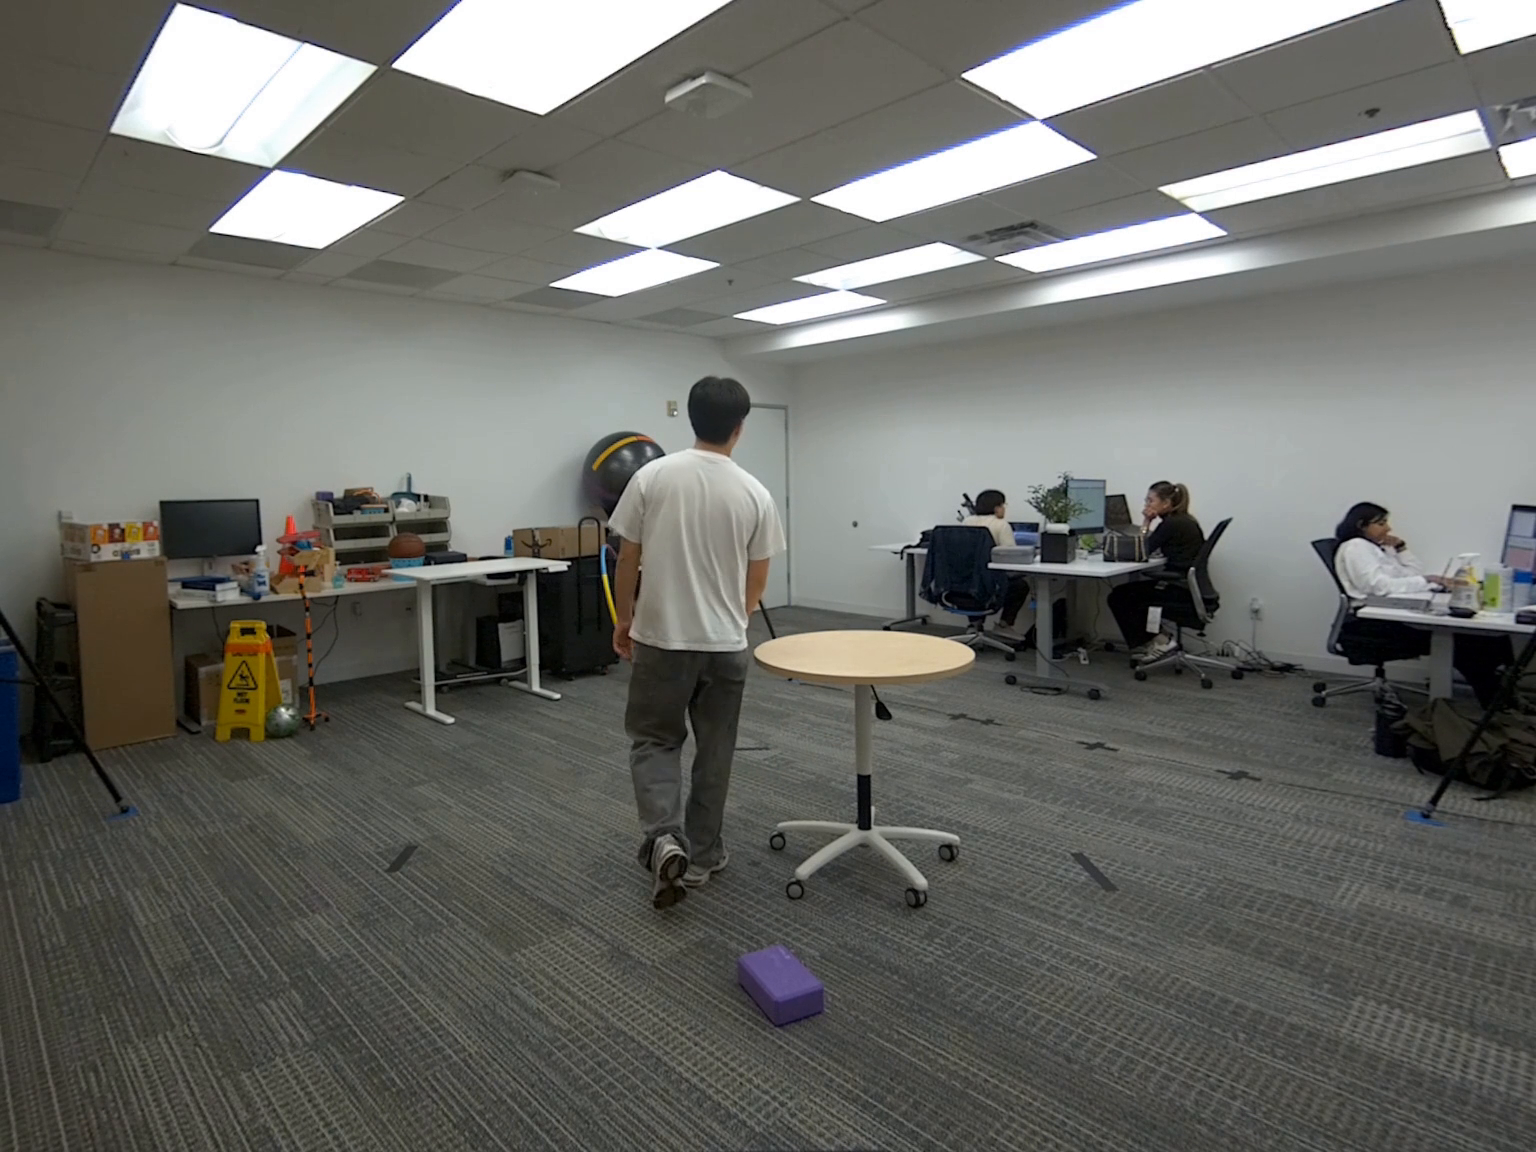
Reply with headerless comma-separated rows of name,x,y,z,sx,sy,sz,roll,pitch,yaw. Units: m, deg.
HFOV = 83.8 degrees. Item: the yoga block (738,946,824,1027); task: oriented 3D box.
yoga block,0.038,1.102,2.305,0.146,0.076,0.235,-4,7,-27
